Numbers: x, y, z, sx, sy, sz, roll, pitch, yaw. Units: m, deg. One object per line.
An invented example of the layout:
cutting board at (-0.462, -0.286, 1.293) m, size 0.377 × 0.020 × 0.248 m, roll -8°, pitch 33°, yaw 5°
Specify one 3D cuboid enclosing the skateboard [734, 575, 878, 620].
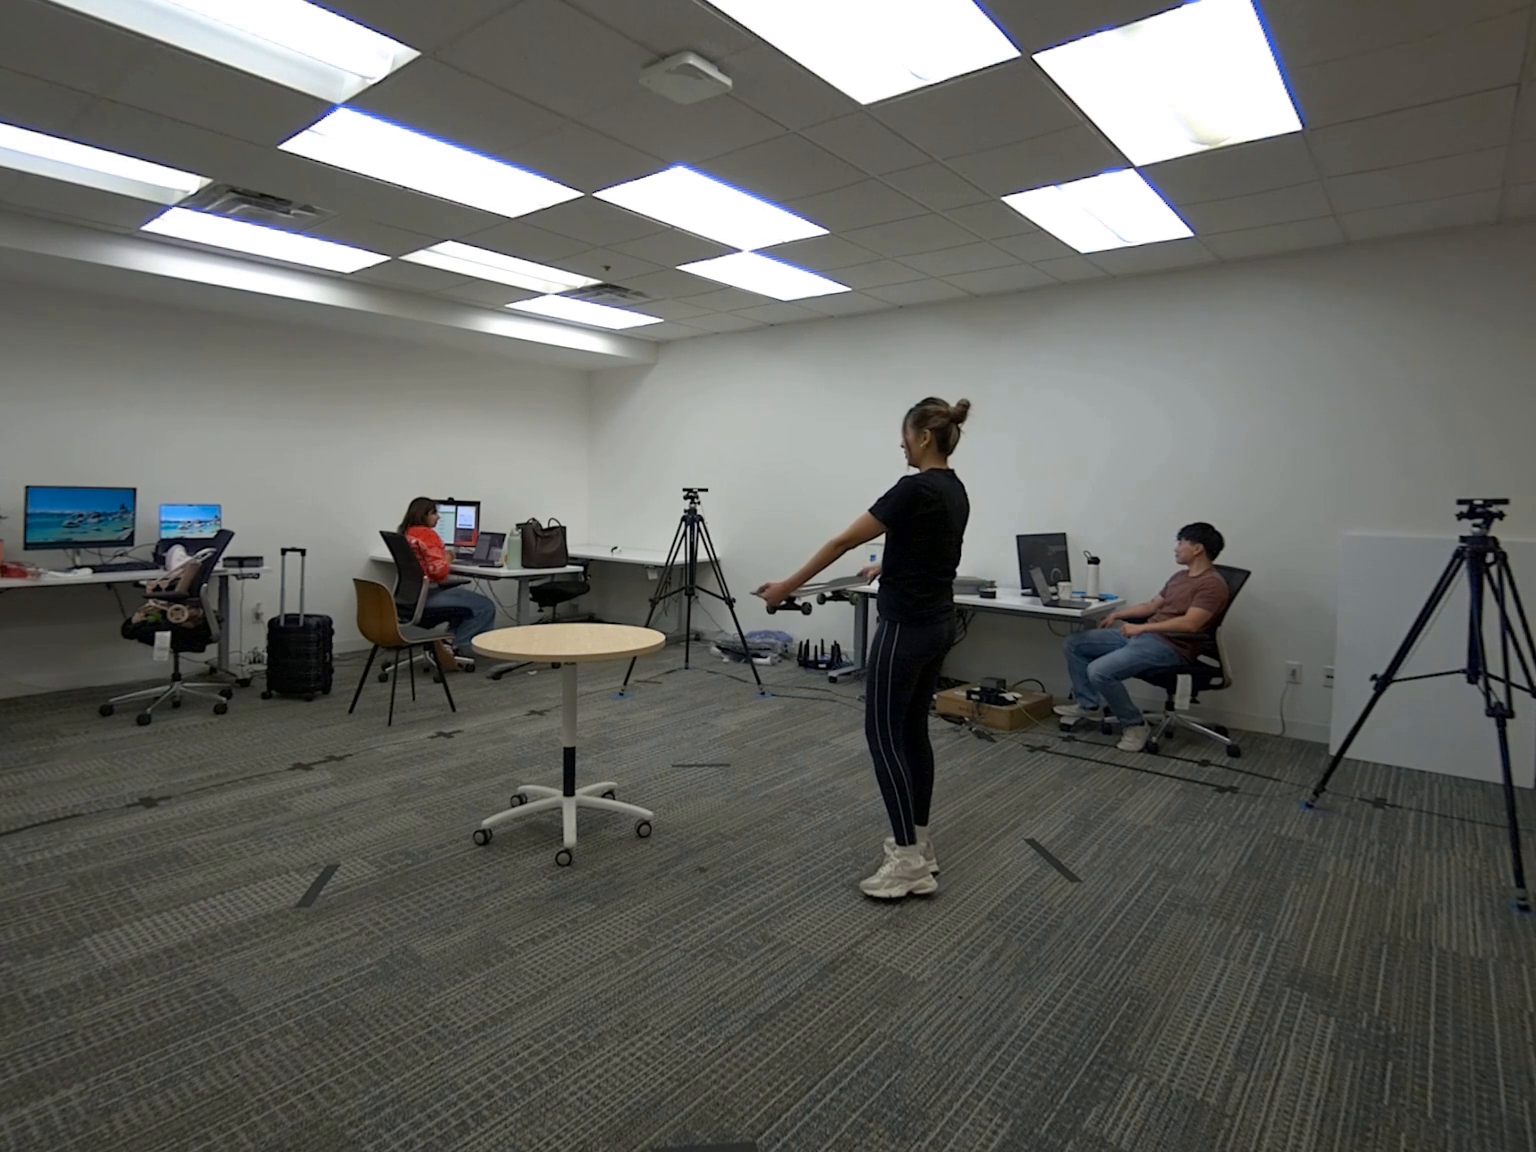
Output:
skateboard at (0.174, 0.077, 3.387) m, size 0.199 × 0.110 × 0.763 m, roll -2°, pitch 2°, yaw 35°
